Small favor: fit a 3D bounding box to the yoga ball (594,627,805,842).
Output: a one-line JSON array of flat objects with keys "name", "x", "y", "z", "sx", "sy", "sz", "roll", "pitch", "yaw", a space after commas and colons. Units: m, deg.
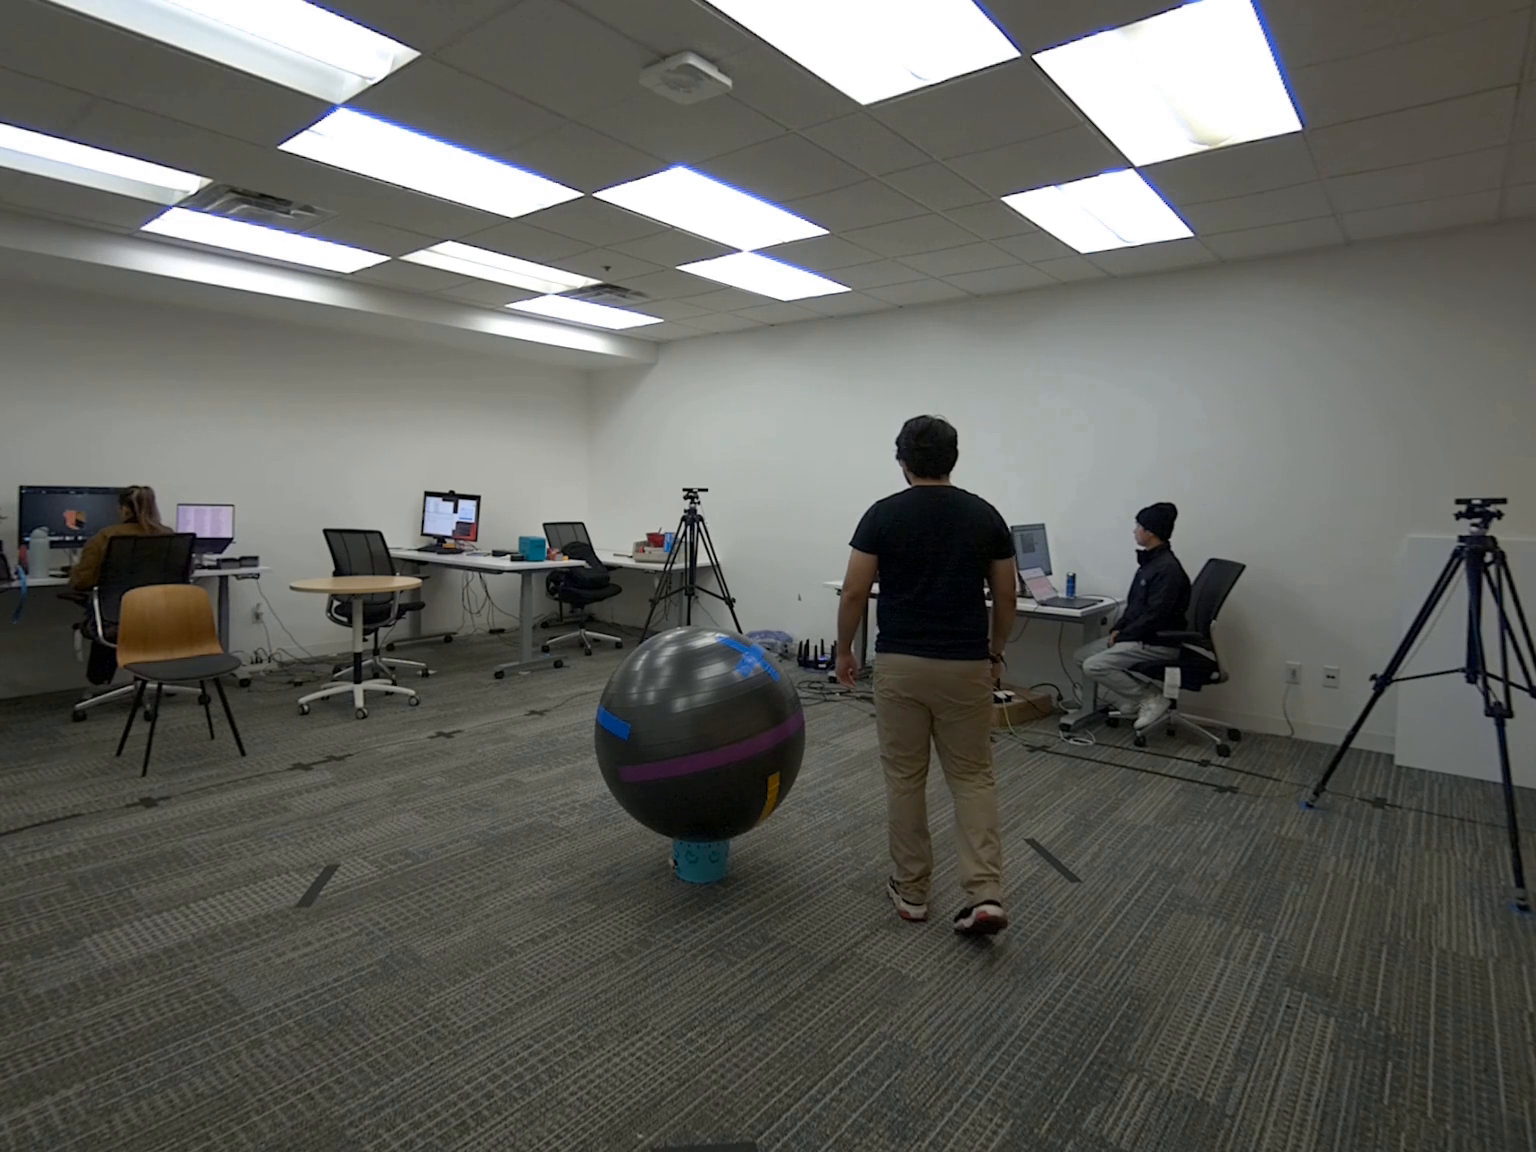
[{"name": "yoga ball", "x": -0.265, "y": 0.565, "z": 3.076, "sx": 0.757, "sy": 0.756, "sz": 0.762, "roll": 1, "pitch": 4, "yaw": -2}]
